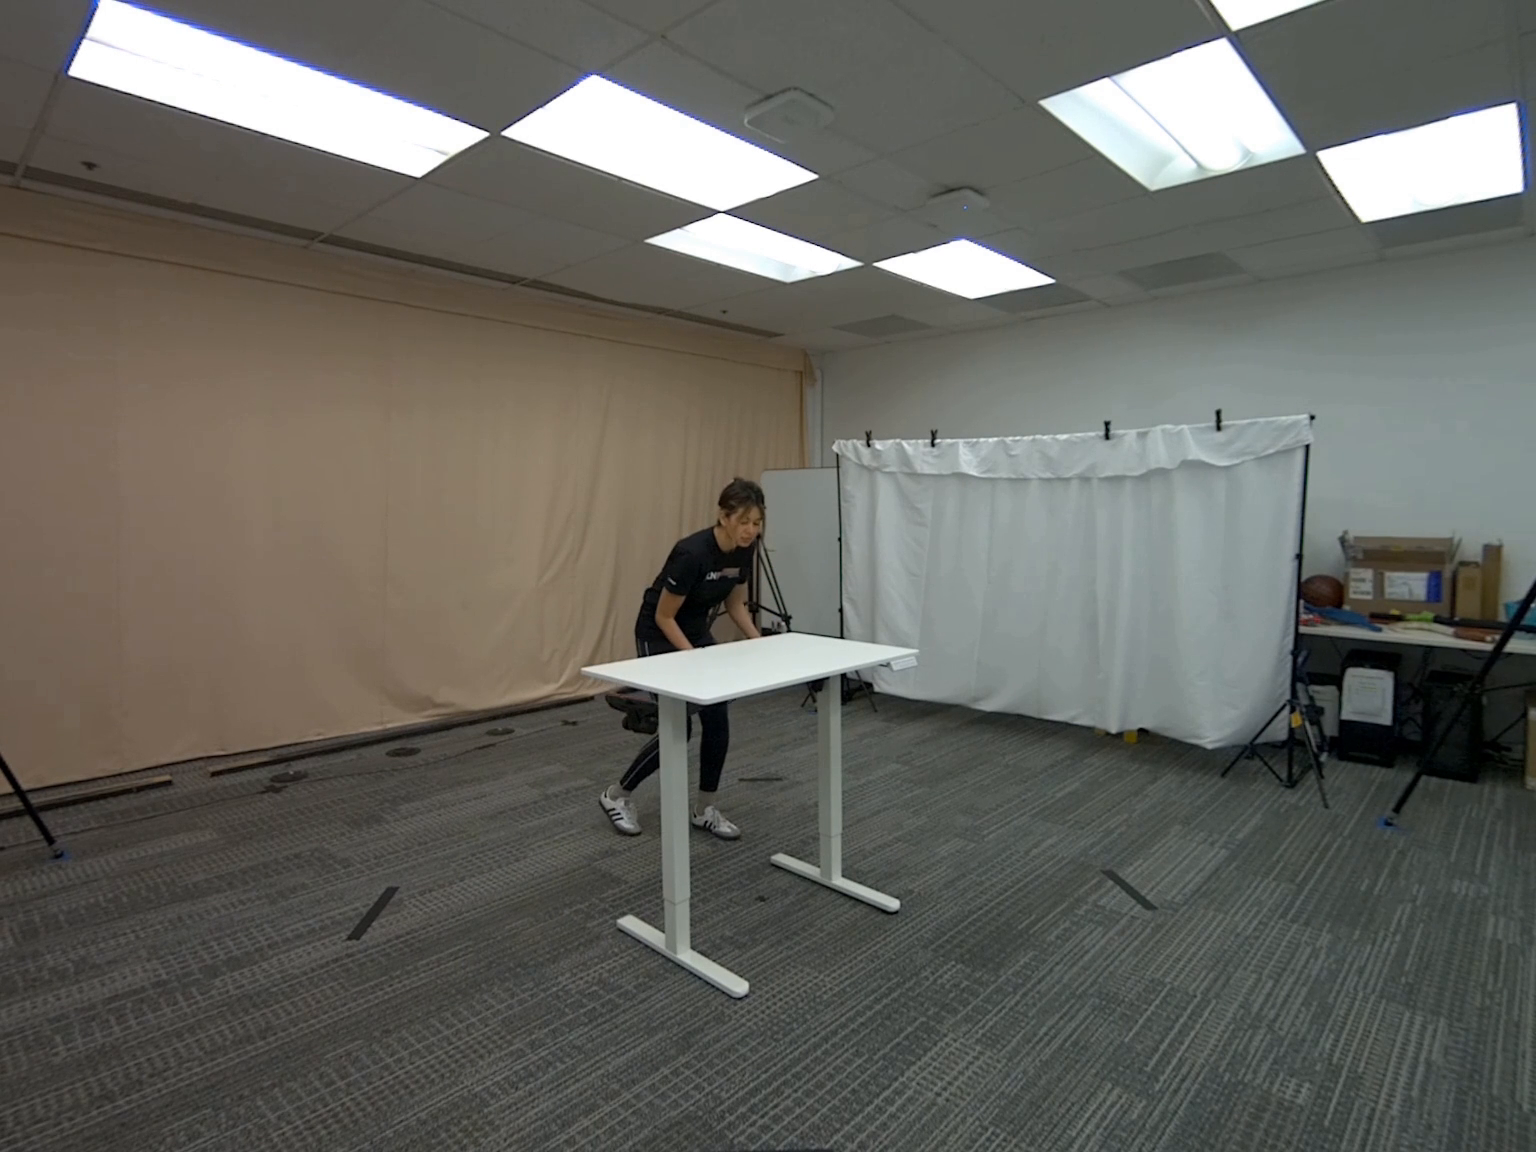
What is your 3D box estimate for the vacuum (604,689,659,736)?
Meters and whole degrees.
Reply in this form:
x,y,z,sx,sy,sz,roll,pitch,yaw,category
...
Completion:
x,y,z,sx,sy,sz,roll,pitch,yaw,category
-0.173,0.446,3.417,0.260,0.144,1.019,-2,4,40,vacuum
